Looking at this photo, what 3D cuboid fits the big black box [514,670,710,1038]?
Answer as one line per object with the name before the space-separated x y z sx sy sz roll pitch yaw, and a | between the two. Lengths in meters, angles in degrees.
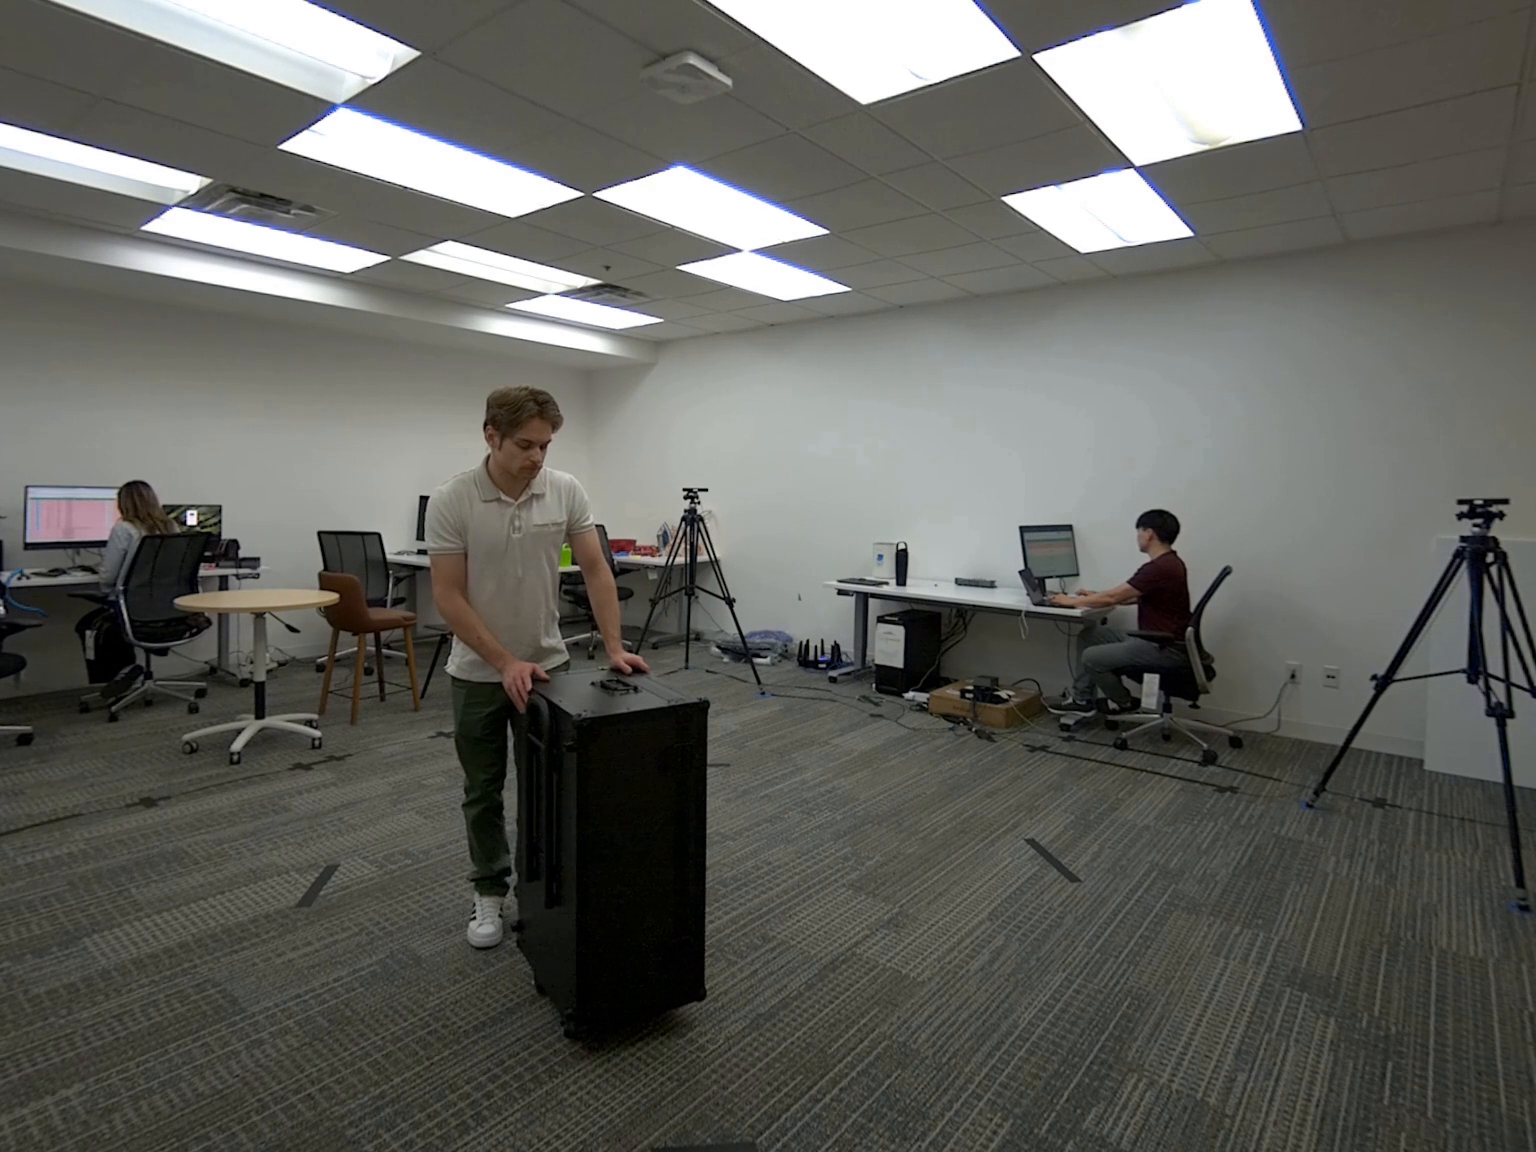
big black box | -0.434 0.724 2.282 0.374 0.866 0.540 -1 4 -33
